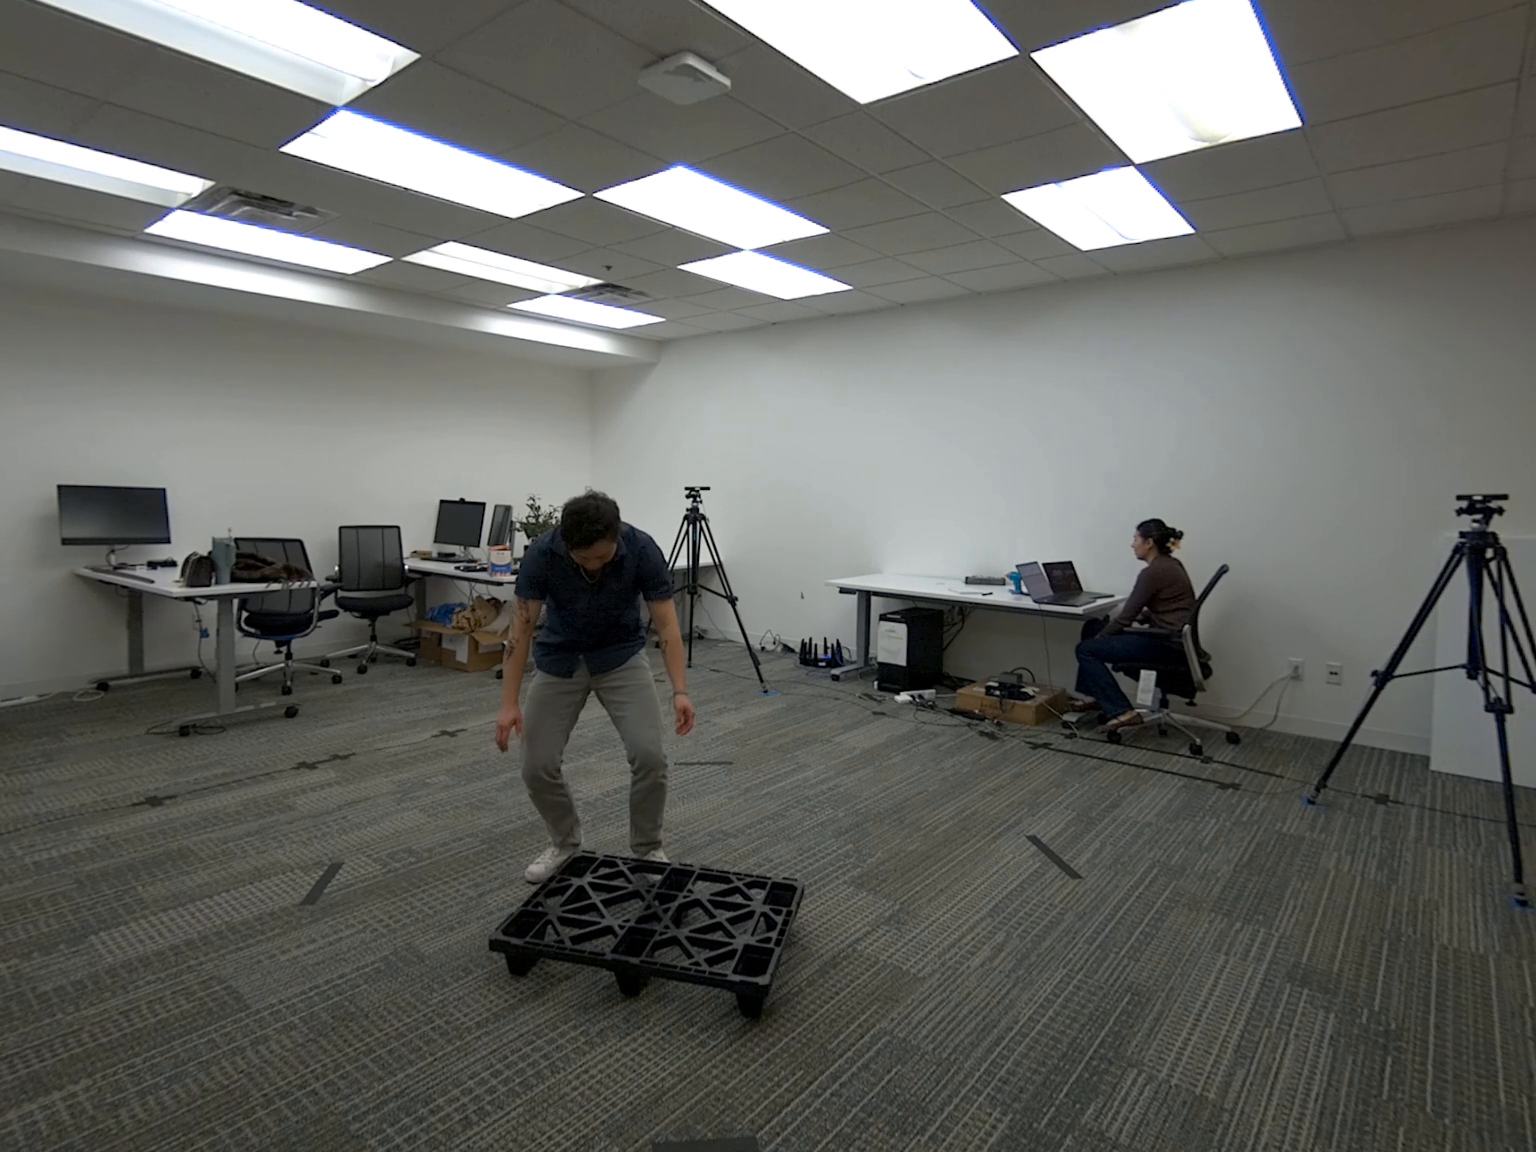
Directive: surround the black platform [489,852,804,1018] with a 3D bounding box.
[{"bbox_3d":[-0.343,1.053,2.548,0.819,0.143,0.598,2,6,14],"label":"black platform"}]
